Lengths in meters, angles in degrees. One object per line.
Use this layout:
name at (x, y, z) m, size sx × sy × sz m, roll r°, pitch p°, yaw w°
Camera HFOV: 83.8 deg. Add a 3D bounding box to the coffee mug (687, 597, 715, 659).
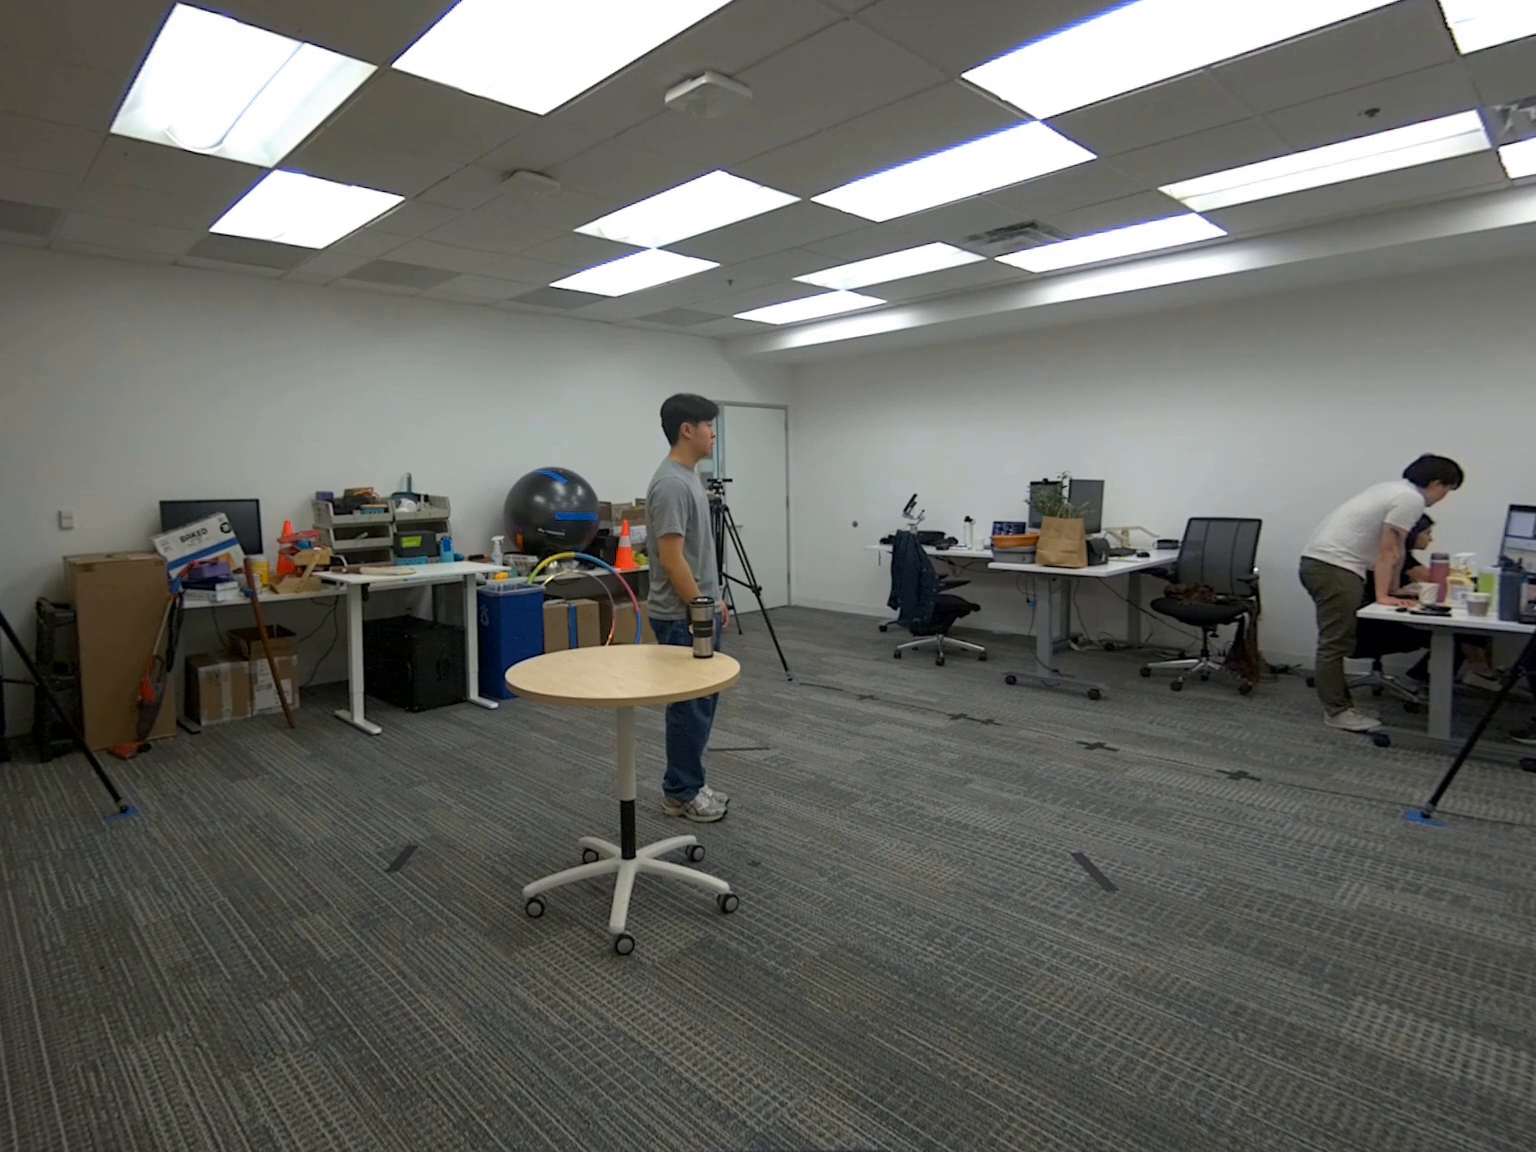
coffee mug at (-0.238, 0.184, 2.990) m, size 0.086 × 0.202 × 0.125 m, roll -5°, pitch 6°, yaw -23°
